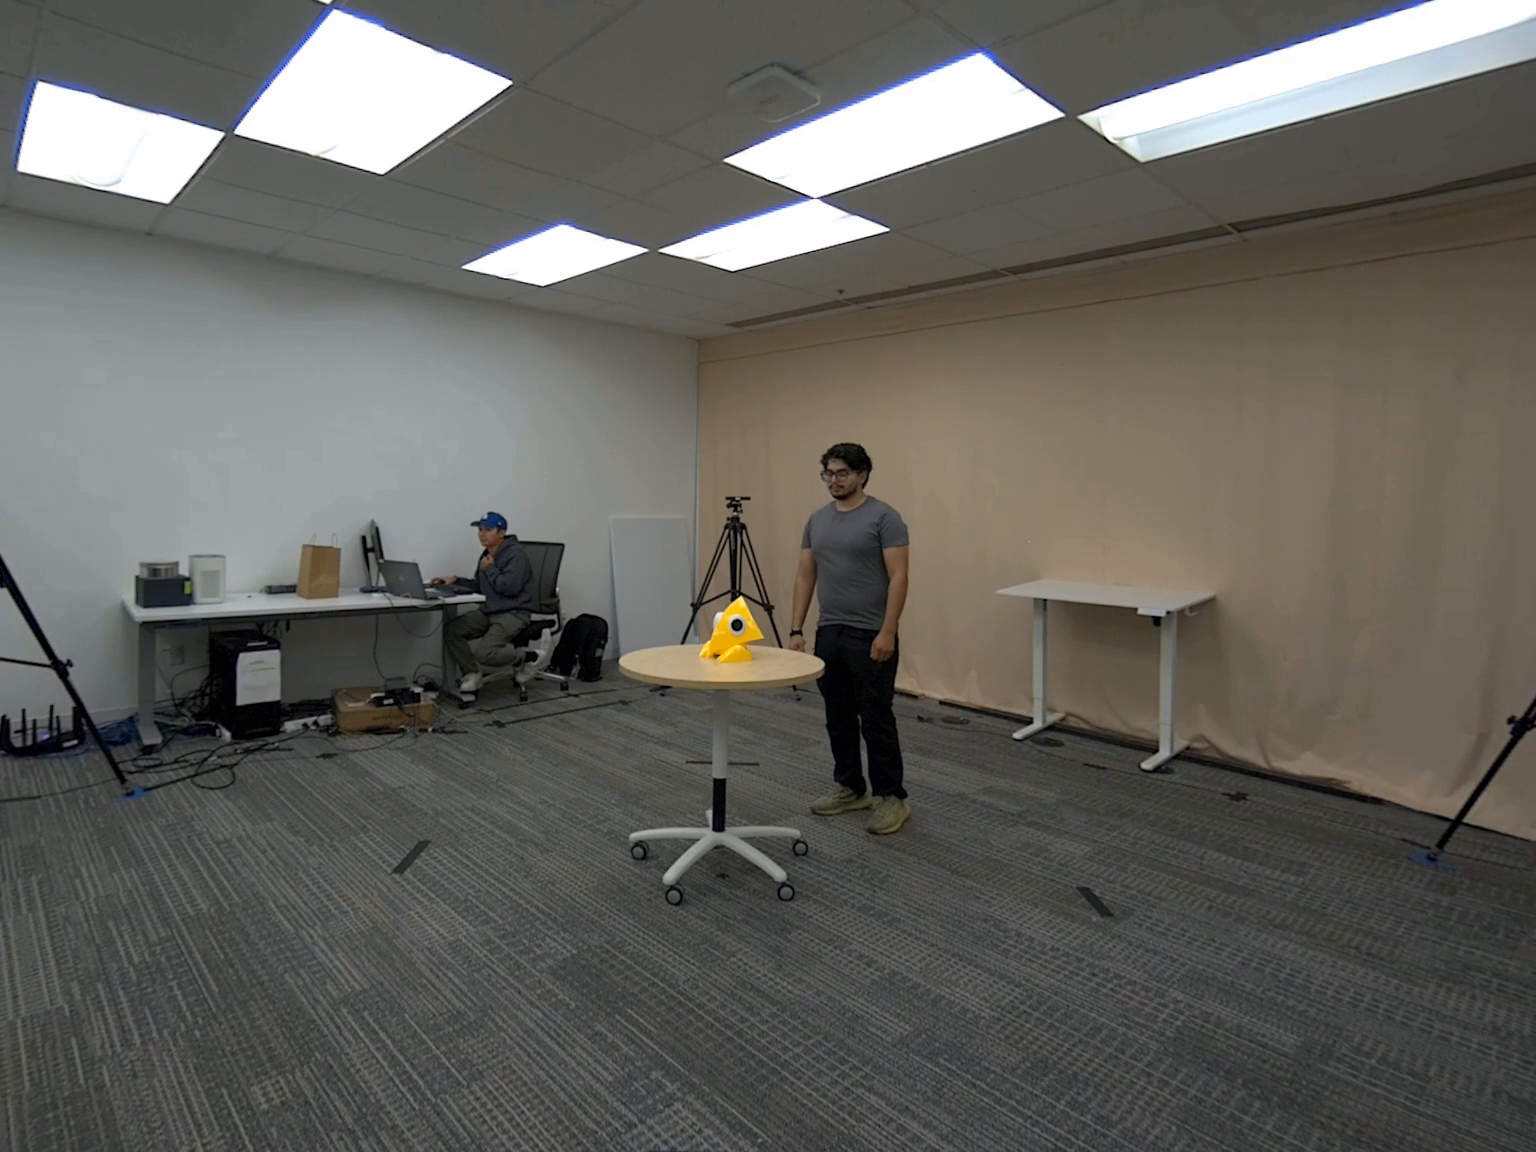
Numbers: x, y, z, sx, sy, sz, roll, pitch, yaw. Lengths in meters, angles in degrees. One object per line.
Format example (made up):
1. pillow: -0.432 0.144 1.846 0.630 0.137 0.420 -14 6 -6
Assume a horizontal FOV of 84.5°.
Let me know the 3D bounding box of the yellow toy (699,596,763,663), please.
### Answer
1. yellow toy: -0.155 0.198 3.222 0.189 0.230 0.210 -2 5 -39
